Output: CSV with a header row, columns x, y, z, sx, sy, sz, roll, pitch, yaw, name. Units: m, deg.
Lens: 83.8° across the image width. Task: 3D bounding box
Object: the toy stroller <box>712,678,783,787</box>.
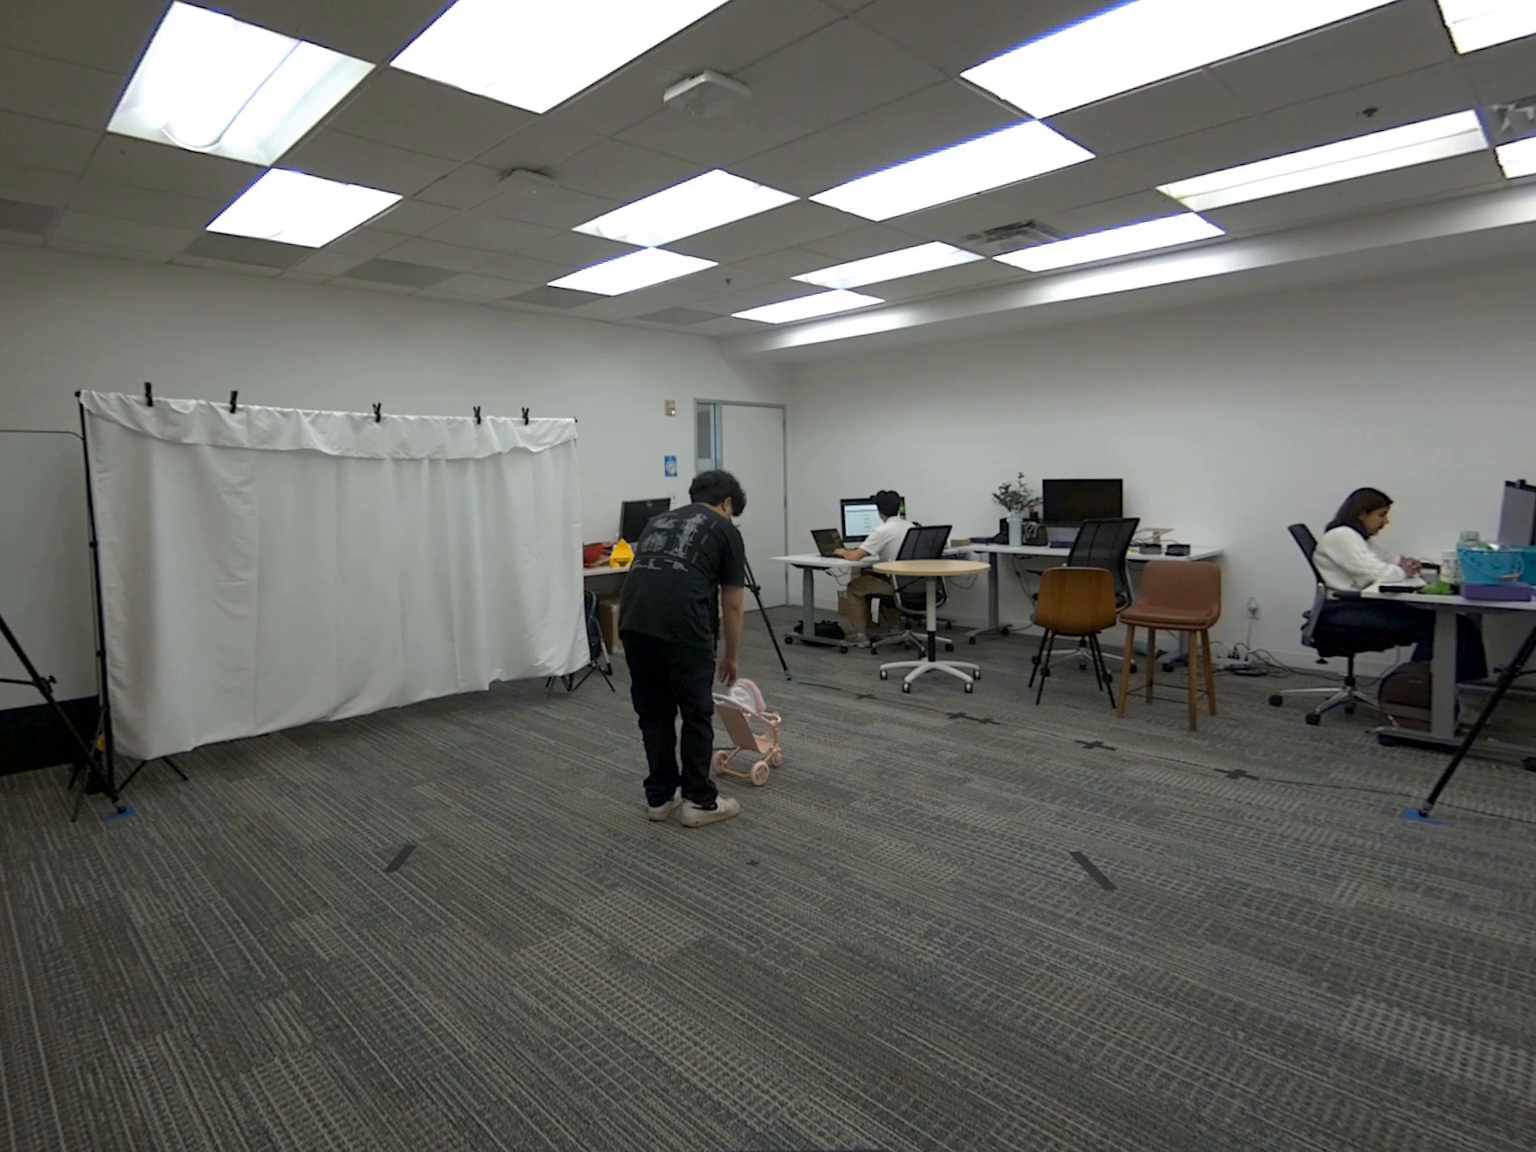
x,y,z,sx,sy,sz,roll,pitch,yaw,name
-0.092,0.717,4.011,0.336,0.527,0.290,-25,19,-39,toy stroller
